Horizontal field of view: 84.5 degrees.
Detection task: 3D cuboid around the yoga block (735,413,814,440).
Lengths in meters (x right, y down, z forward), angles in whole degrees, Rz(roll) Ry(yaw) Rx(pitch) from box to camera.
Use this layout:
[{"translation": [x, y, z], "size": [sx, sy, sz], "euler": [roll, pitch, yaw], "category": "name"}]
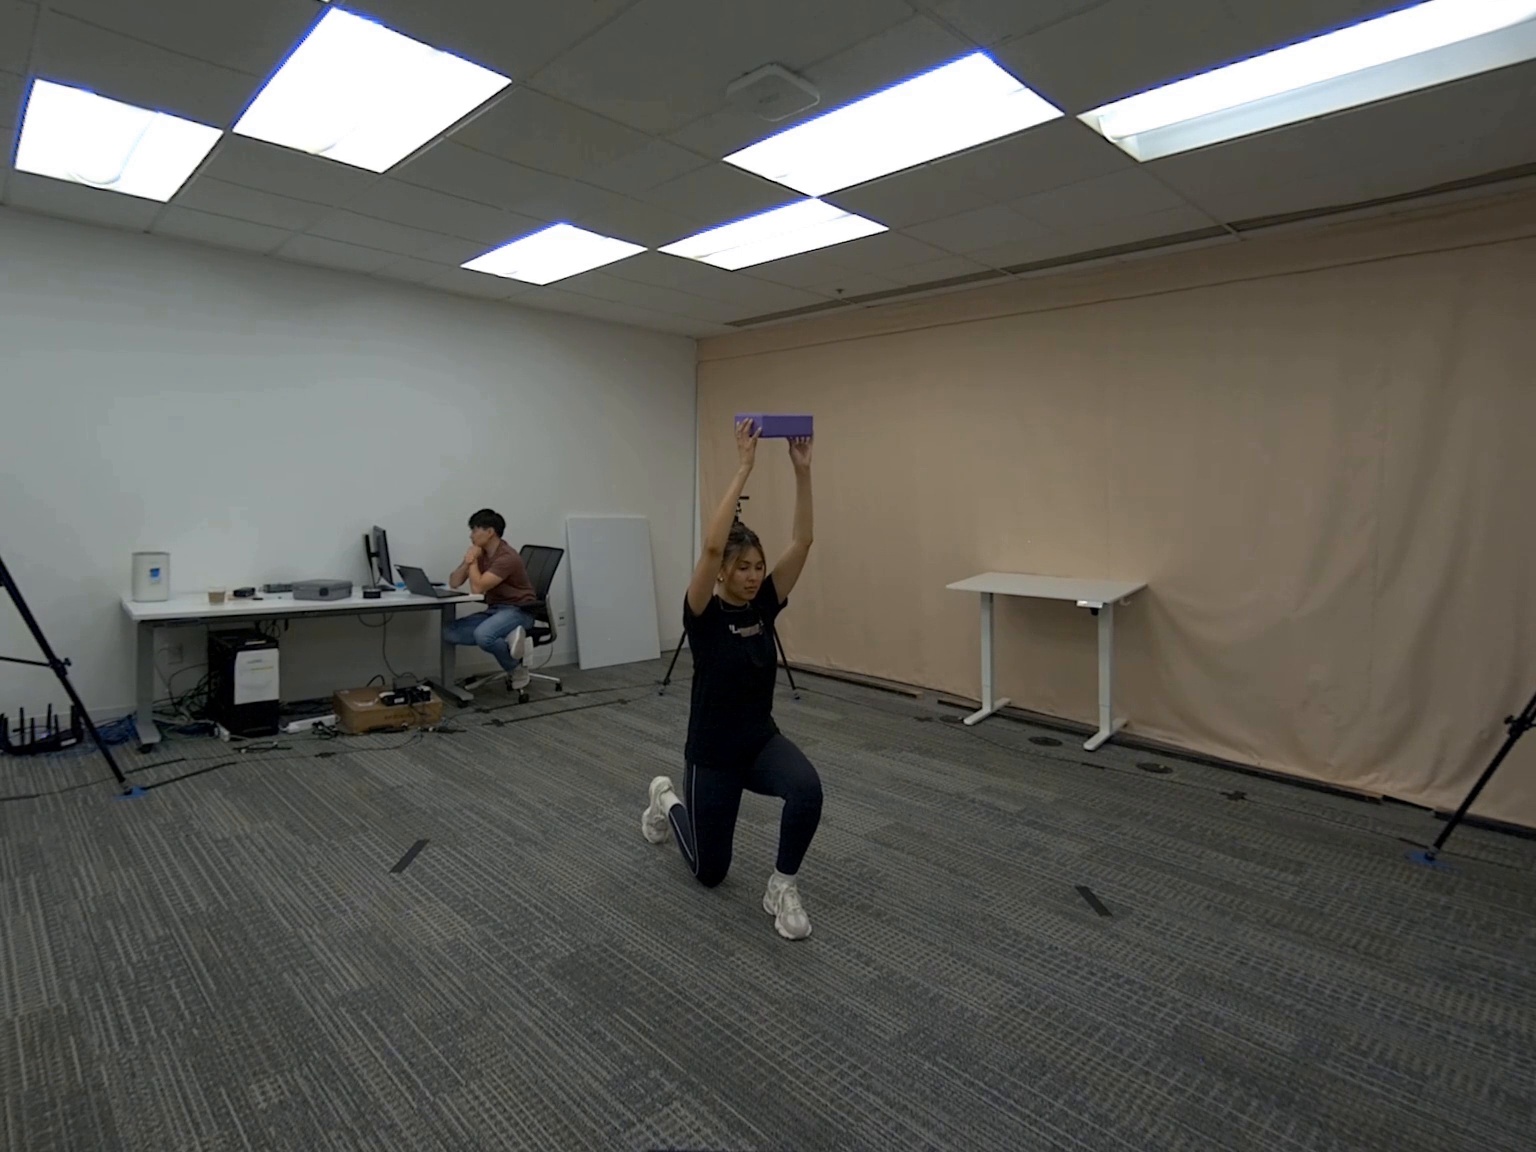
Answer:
[{"translation": [0.018, -0.495, 2.738], "size": [0.225, 0.076, 0.153], "euler": [-11, 16, -41], "category": "yoga block"}]
